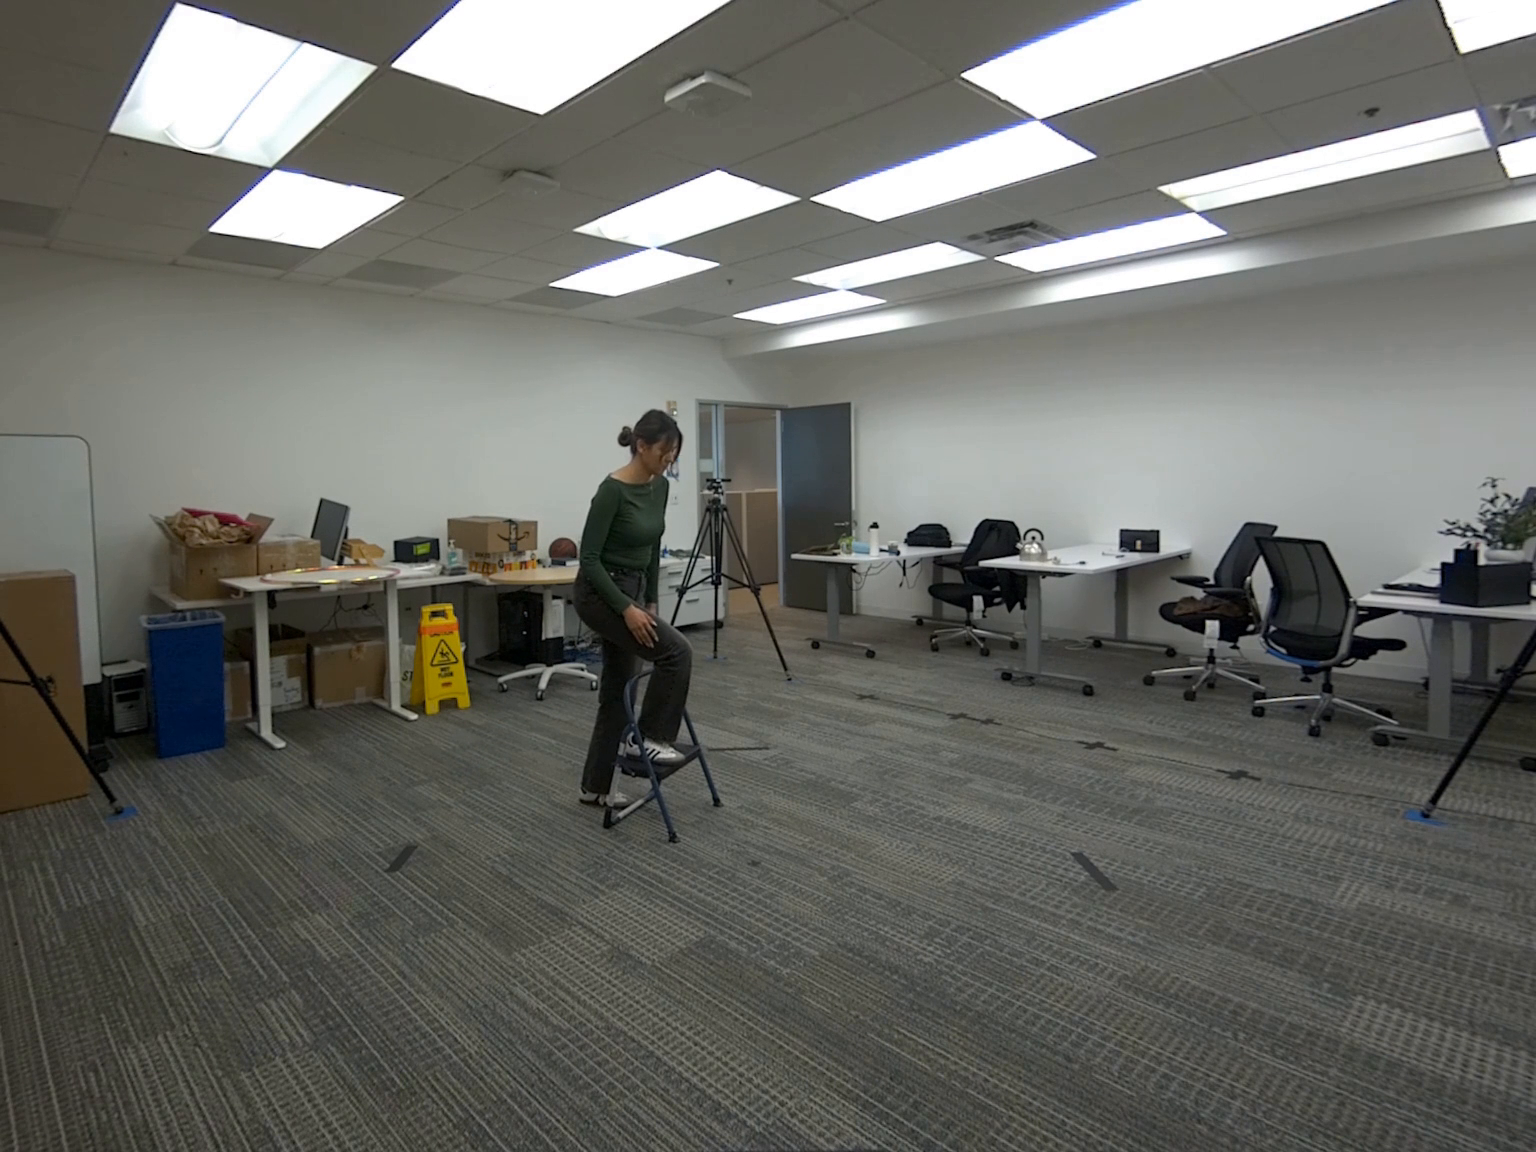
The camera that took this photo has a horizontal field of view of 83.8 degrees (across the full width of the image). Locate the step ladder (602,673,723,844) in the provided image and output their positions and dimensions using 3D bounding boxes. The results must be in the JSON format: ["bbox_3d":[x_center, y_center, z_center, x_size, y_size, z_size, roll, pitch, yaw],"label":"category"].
[{"bbox_3d":[-0.436,0.701,3.535,0.357,0.604,0.423,0,5,23],"label":"step ladder"}]
